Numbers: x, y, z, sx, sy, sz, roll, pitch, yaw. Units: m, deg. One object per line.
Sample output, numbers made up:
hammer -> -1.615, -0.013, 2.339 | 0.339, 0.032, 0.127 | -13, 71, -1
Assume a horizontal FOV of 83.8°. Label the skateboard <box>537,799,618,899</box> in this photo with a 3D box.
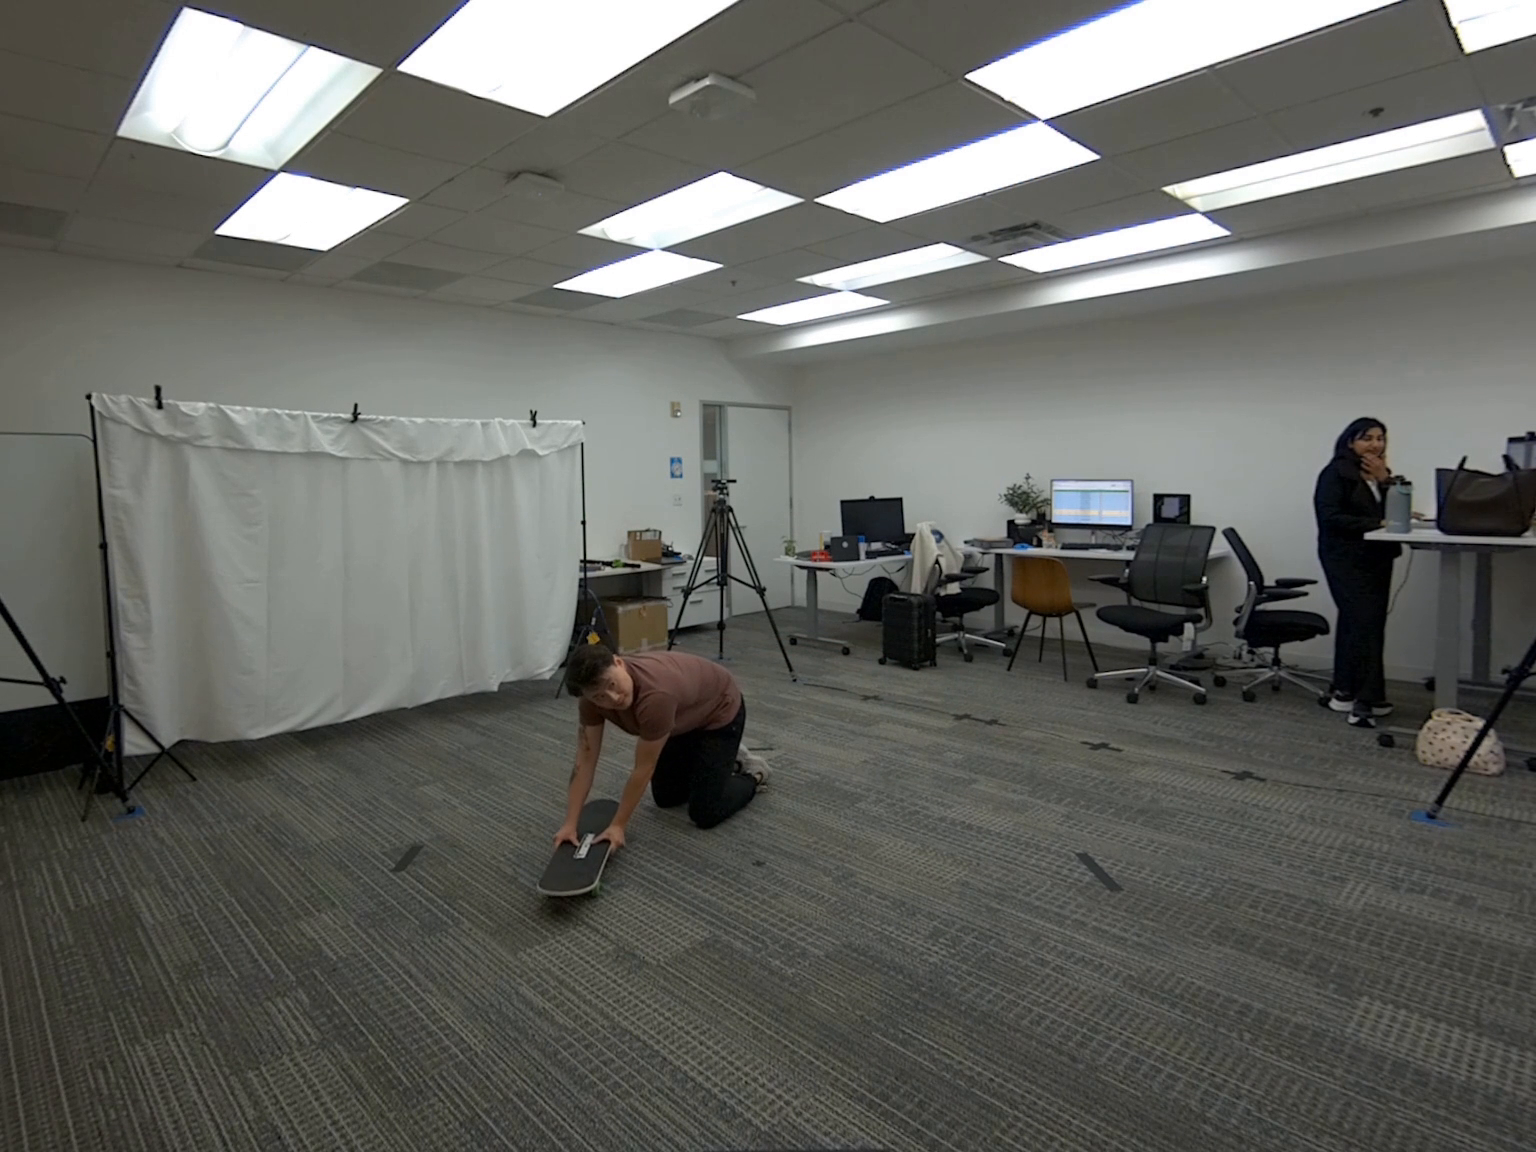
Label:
skateboard -> -0.660, 1.009, 3.095 | 0.193, 0.110, 0.789 | -2, 7, -1
